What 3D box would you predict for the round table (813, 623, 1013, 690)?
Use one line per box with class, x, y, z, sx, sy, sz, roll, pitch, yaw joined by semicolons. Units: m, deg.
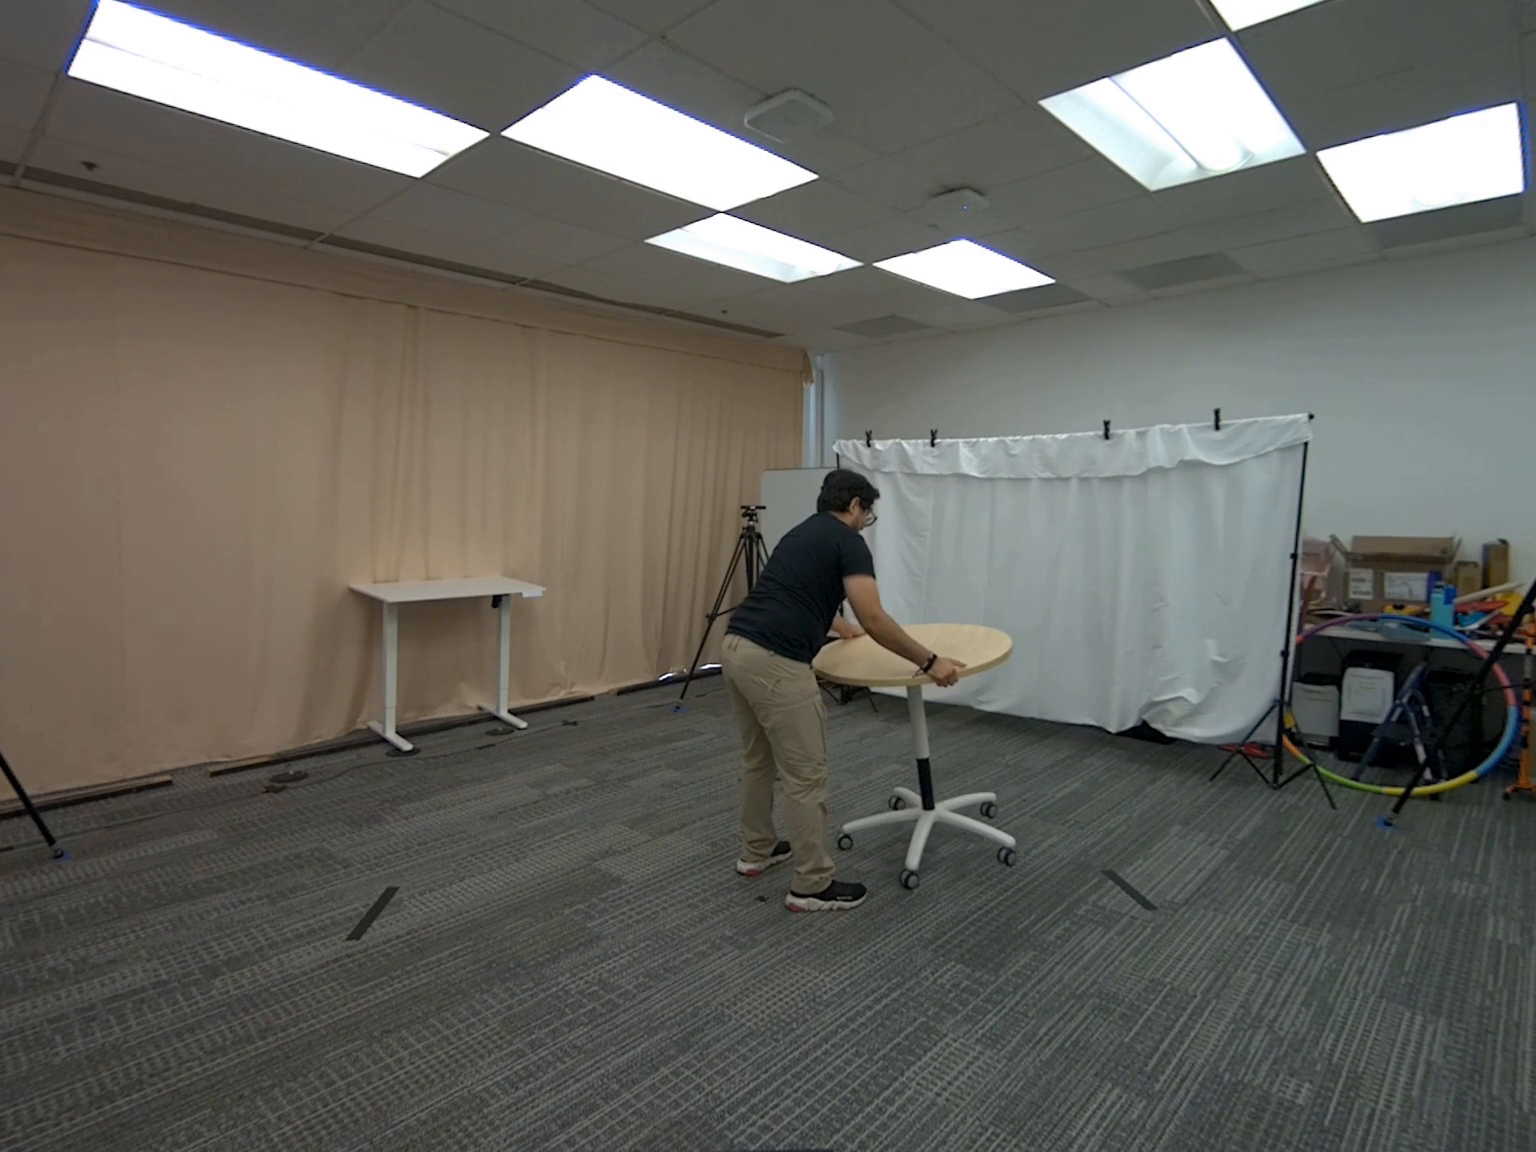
round table;0.611;0.678;3.306;0.785;0.782;0.790;-8;8;-1
